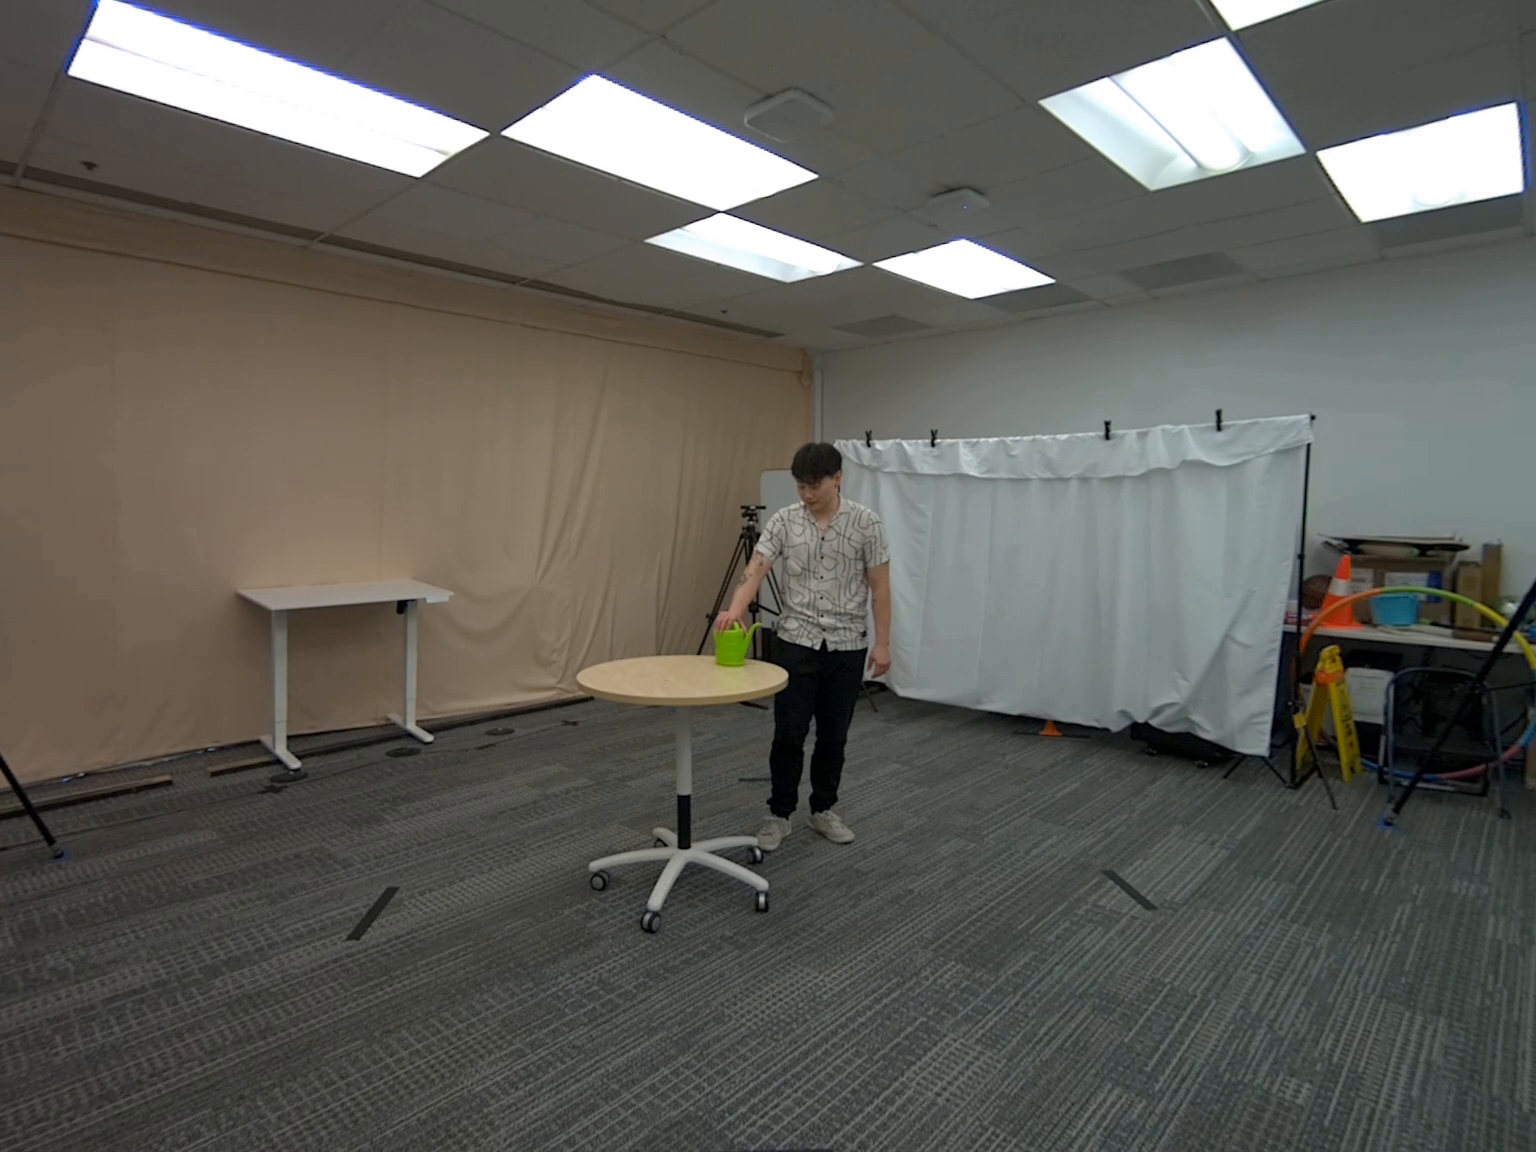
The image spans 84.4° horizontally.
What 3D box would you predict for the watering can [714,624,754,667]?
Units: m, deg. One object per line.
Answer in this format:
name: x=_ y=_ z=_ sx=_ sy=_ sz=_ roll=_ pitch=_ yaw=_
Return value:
watering can: x=-0.126 y=0.257 z=3.211 sx=0.095 sy=0.176 sz=0.286 roll=-4 pitch=4 yaw=-28
